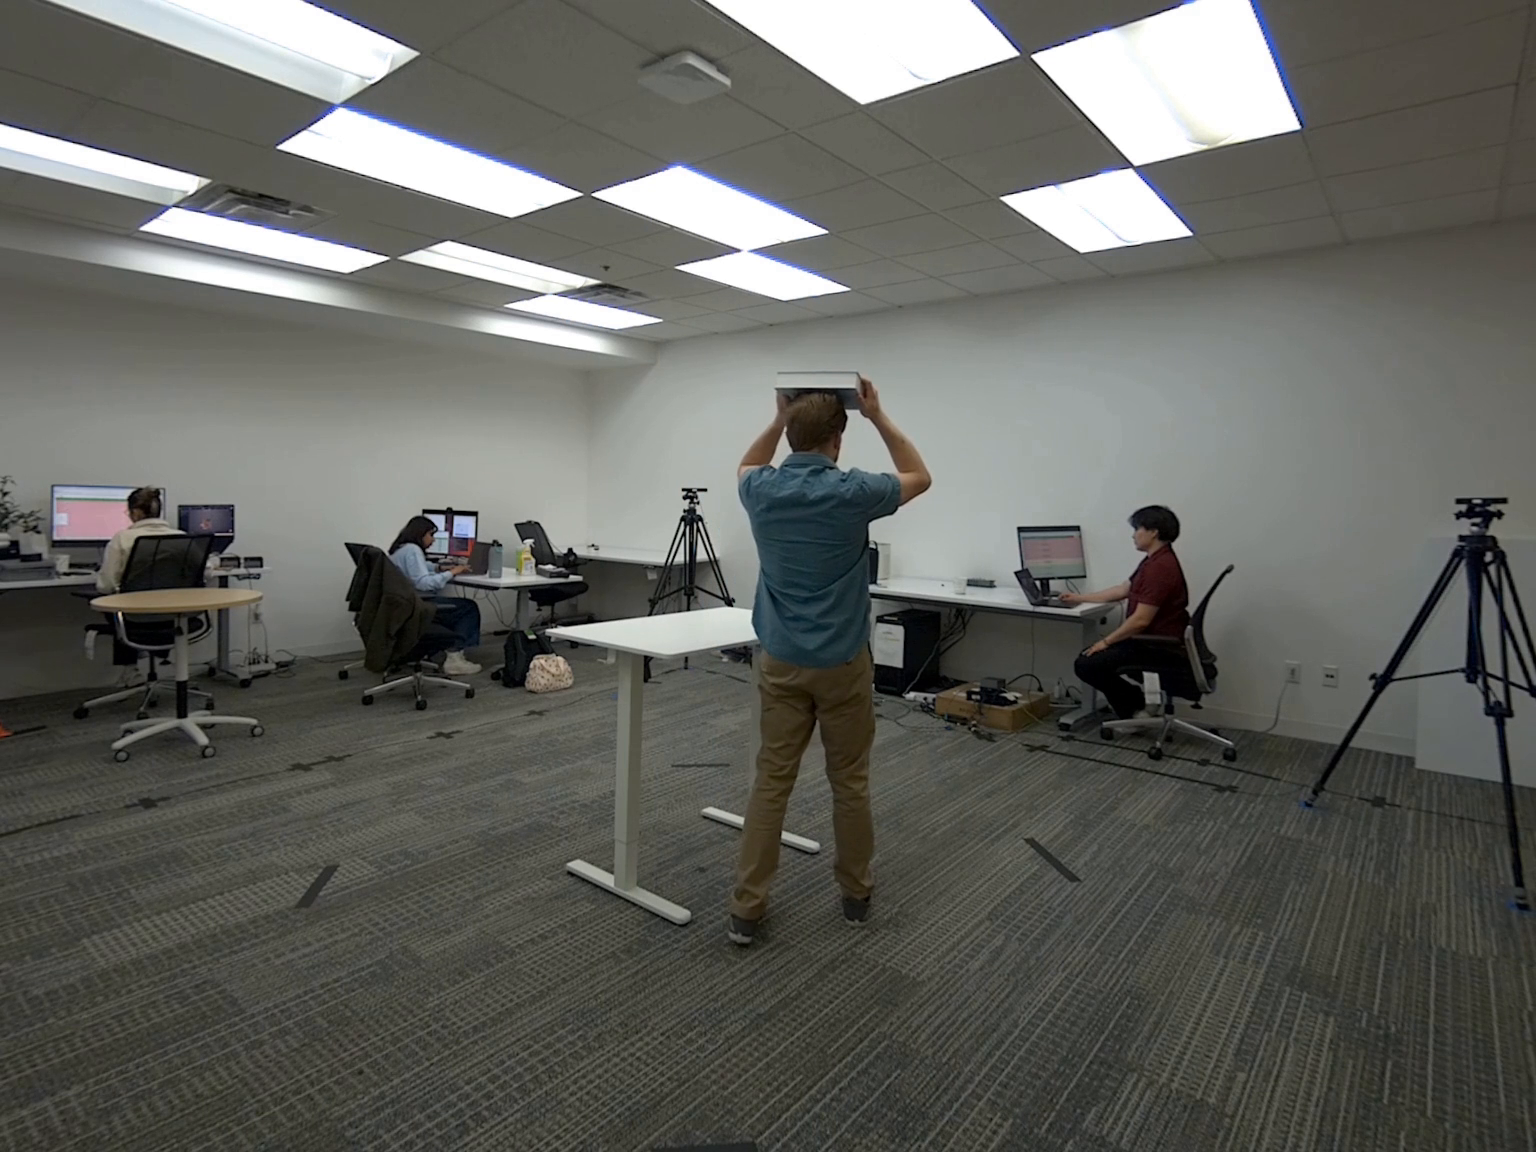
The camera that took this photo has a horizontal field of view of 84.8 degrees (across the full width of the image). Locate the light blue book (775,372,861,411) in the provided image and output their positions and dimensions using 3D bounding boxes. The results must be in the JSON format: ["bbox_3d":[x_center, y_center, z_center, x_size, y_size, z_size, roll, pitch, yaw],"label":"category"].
[{"bbox_3d":[0.164,-0.588,2.699,0.267,0.059,0.185,6,-10,22],"label":"light blue book"}]
